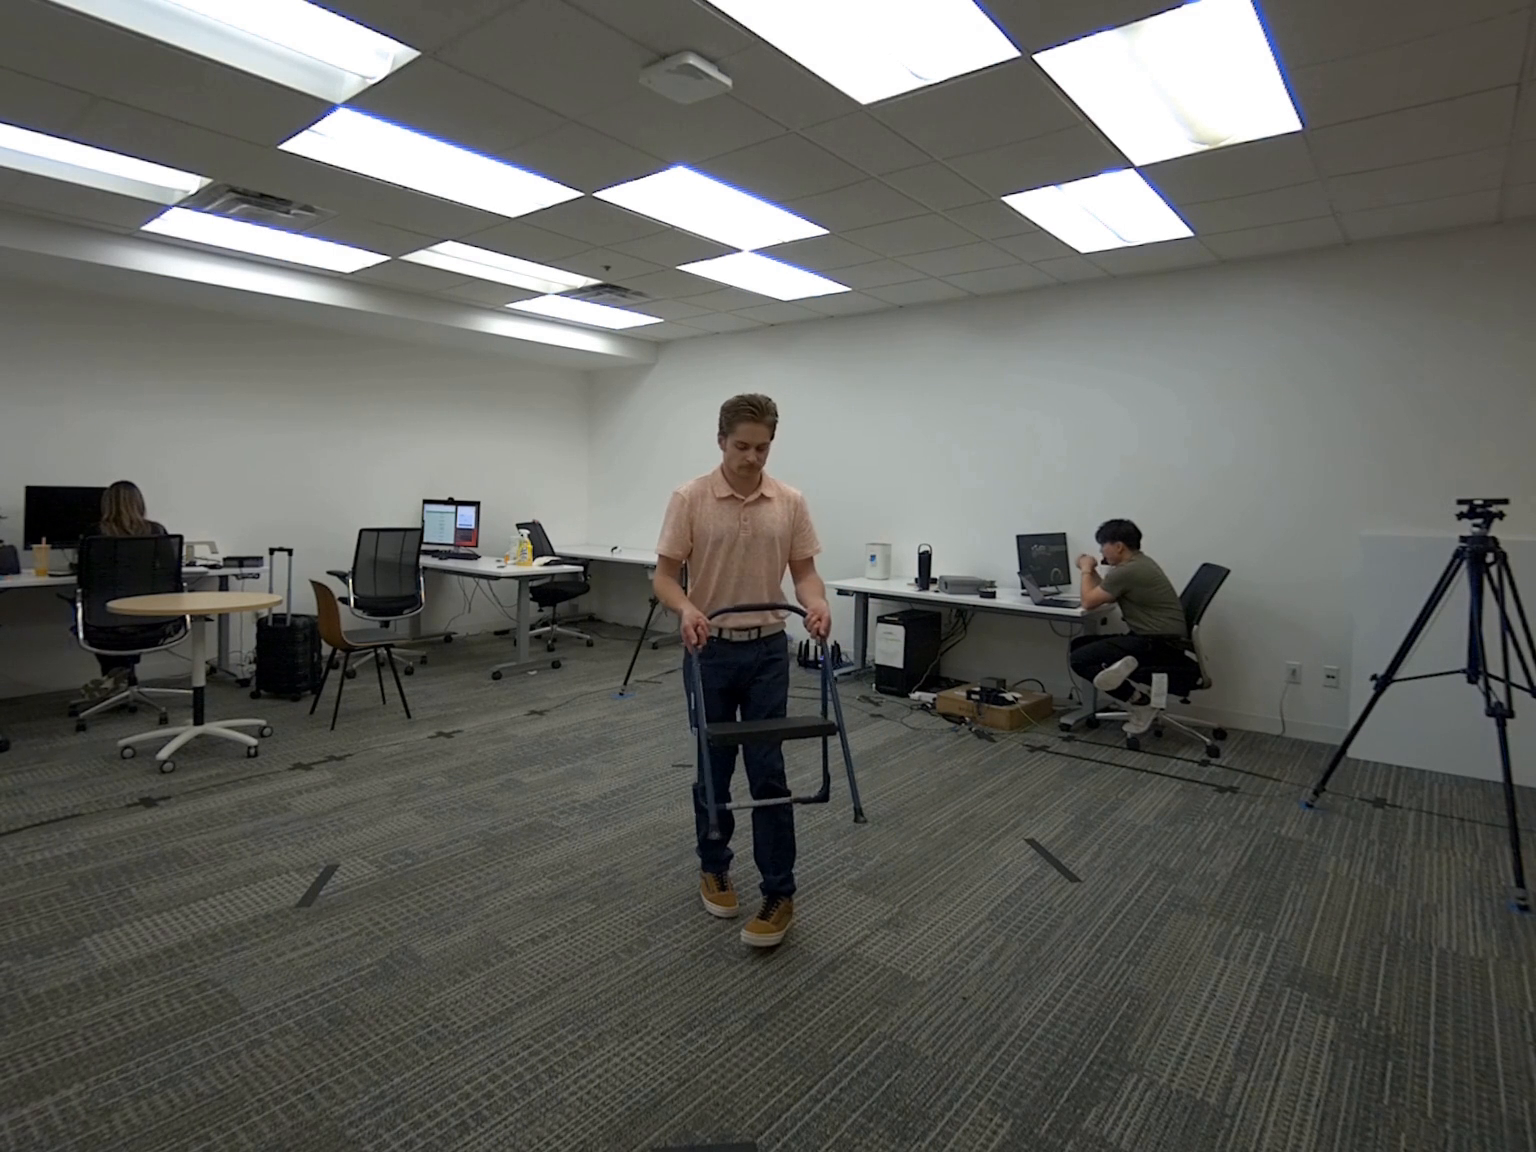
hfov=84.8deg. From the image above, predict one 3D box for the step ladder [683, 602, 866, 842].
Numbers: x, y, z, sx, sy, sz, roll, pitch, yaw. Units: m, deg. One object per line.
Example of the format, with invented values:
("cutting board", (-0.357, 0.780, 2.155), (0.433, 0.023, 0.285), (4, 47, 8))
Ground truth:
("step ladder", (-0.002, 0.382, 2.437), (0.425, 0.611, 0.350), (-2, -8, -12))
